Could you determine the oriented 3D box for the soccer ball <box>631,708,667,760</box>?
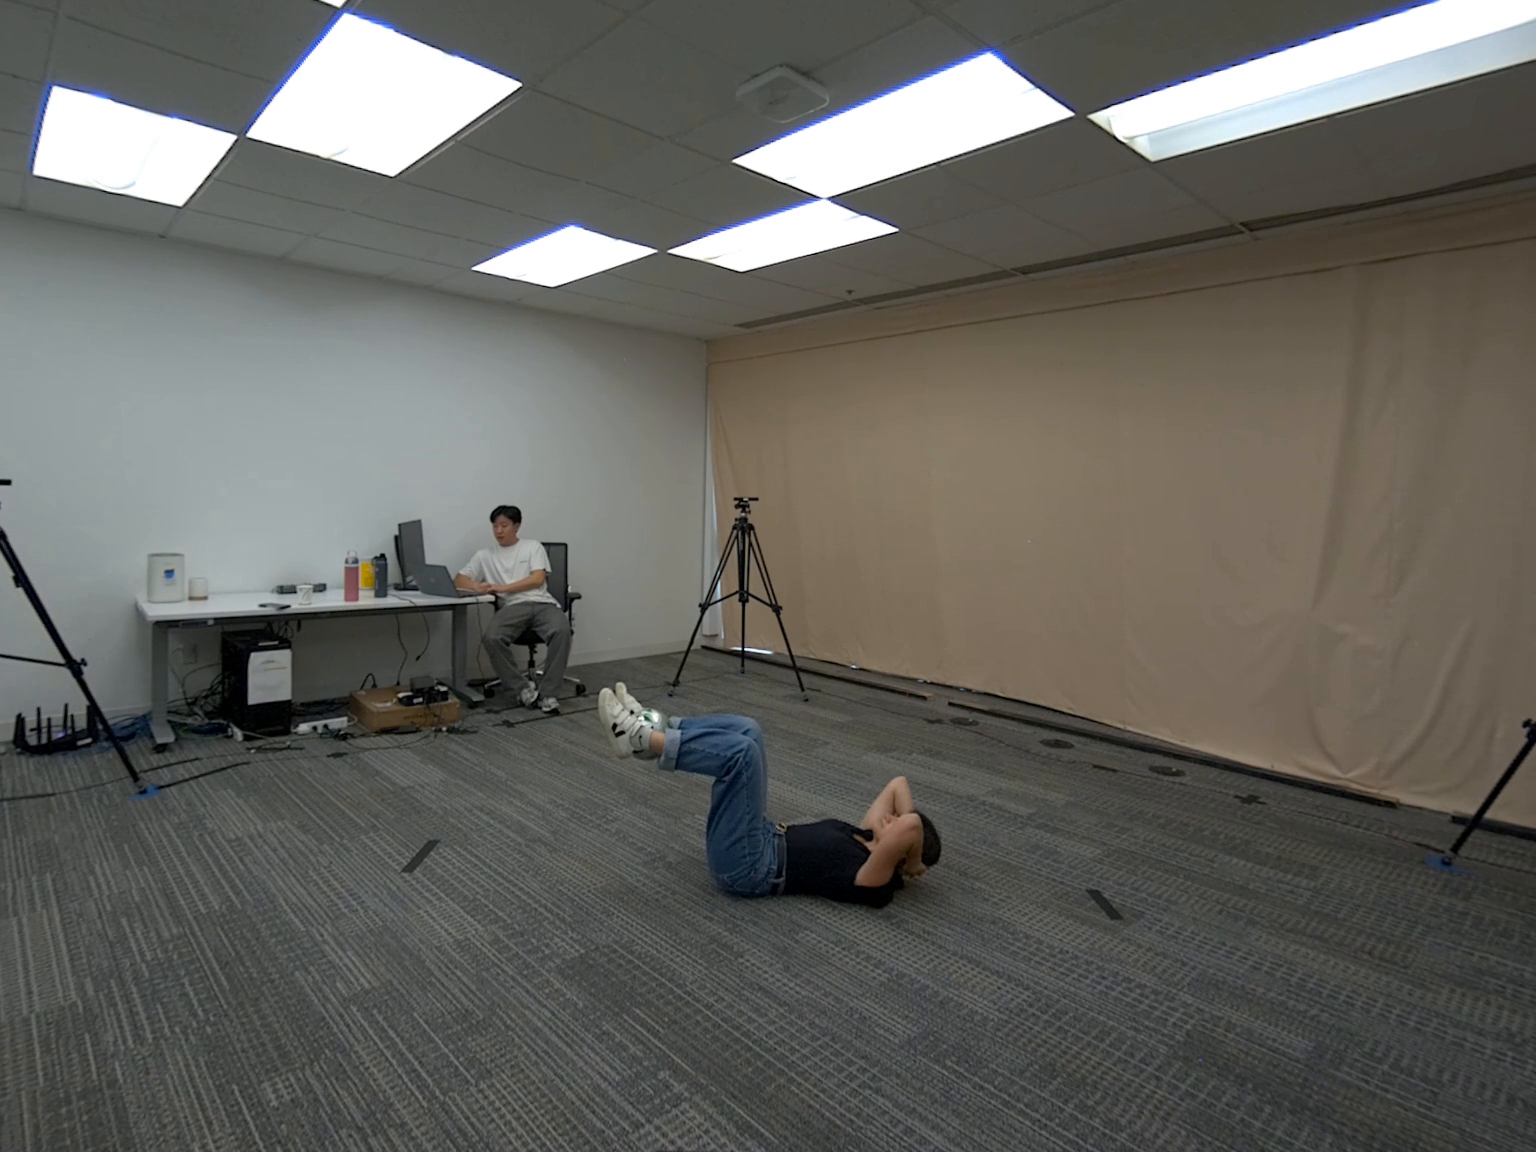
[{"bbox_3d":[-0.460,0.589,3.082,0.187,0.186,0.188,1,7,-1],"label":"soccer ball"}]
